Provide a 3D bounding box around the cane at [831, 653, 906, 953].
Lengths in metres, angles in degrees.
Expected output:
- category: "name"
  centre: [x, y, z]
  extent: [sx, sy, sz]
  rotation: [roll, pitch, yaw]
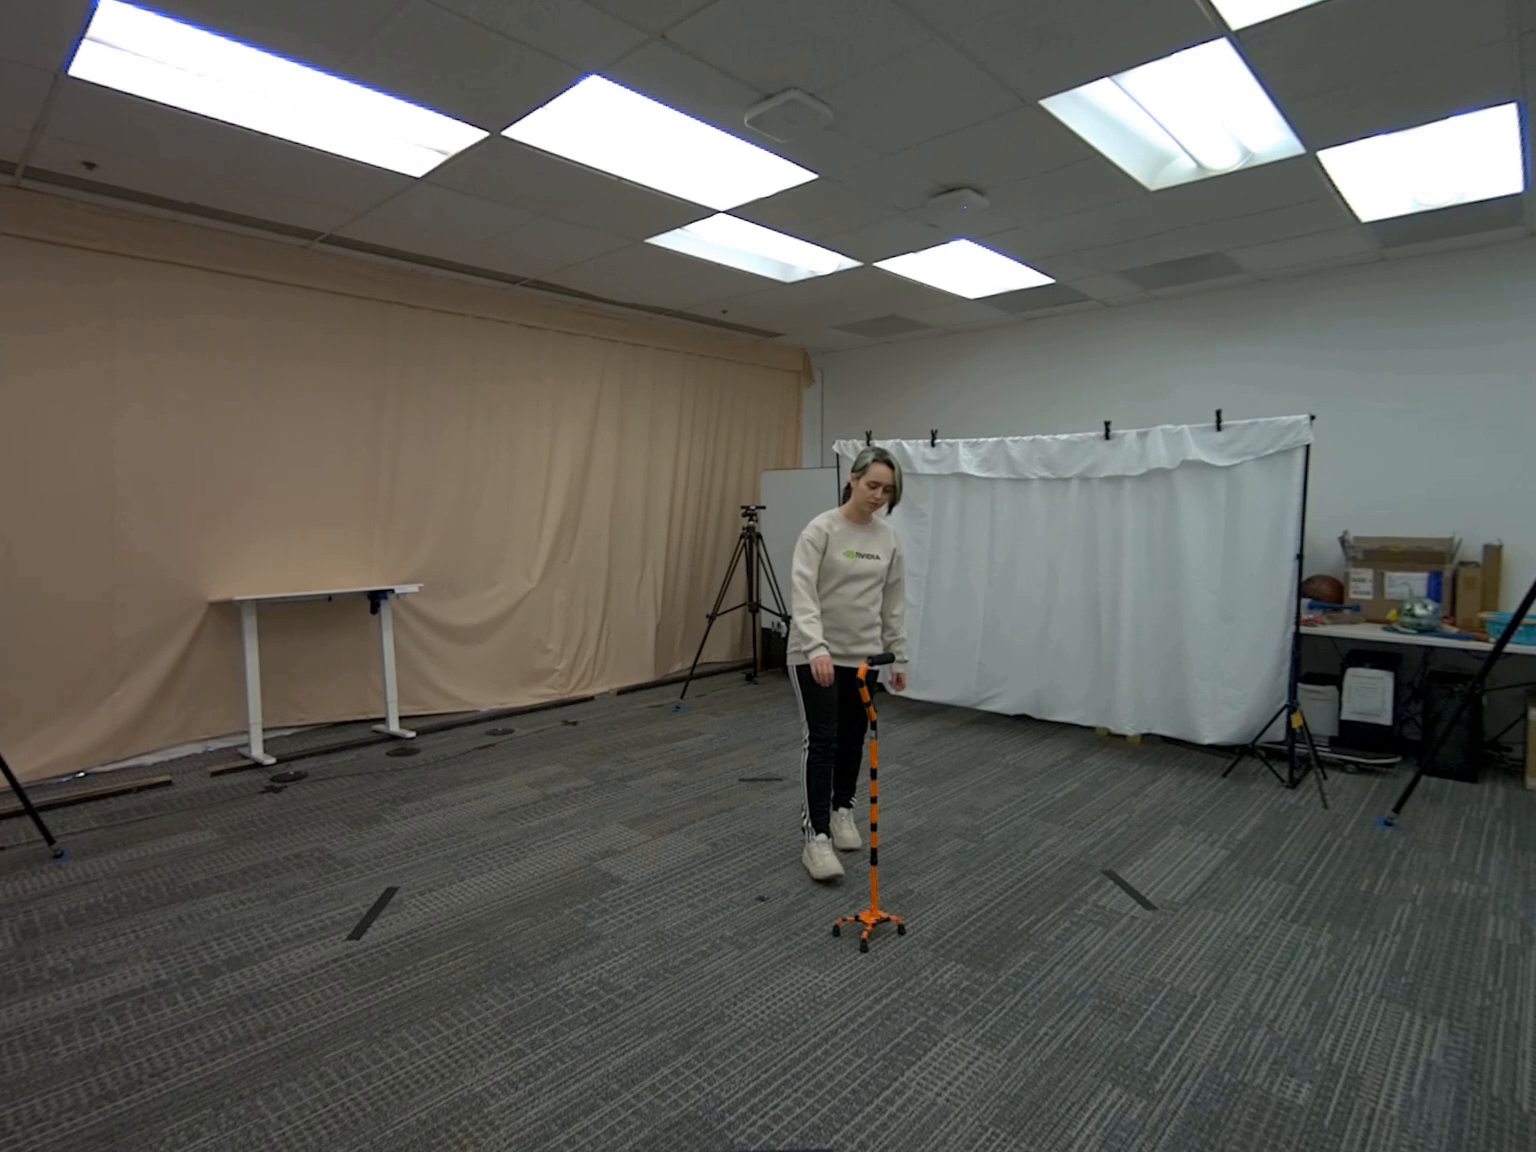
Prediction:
- category: "cane"
  centre: [0.325, 0.708, 2.709]
  extent: [0.200, 0.906, 0.156]
  rotation: [-3, 4, -39]
